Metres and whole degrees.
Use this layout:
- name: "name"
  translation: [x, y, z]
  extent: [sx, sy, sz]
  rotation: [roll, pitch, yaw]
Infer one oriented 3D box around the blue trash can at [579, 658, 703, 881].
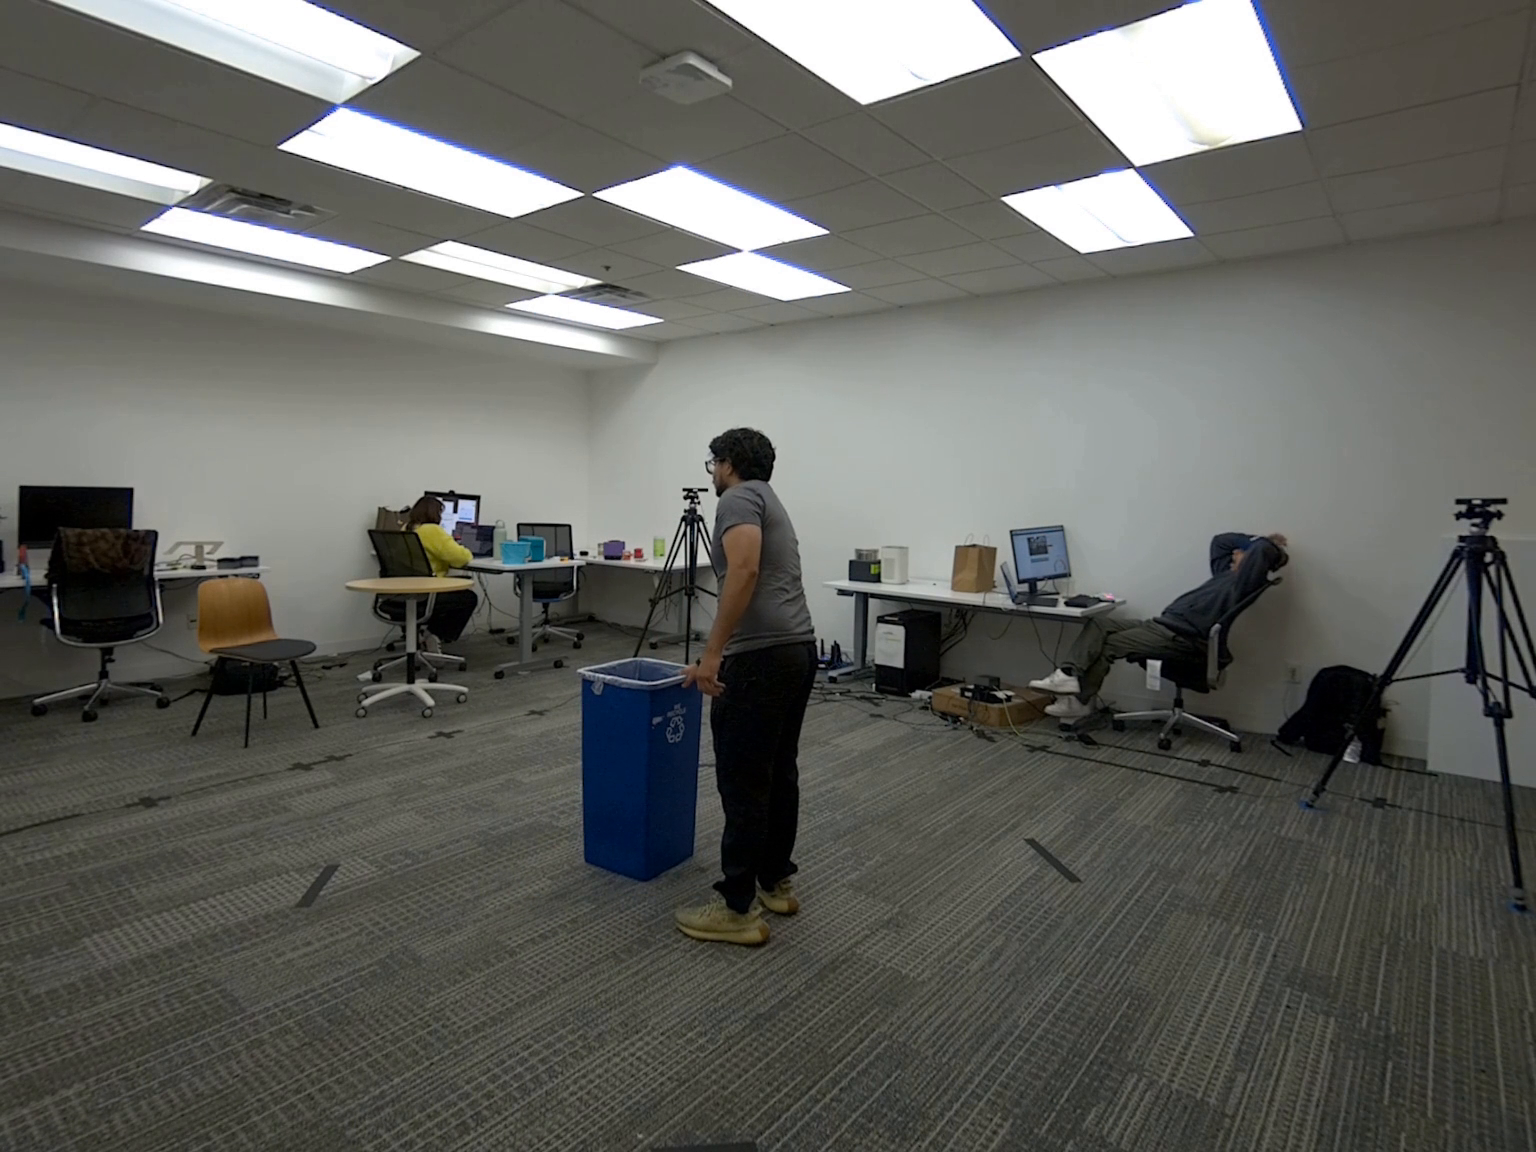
- name: "blue trash can"
  translation: [-0.484, 0.698, 3.192]
  extent: [0.390, 0.712, 0.364]
  rotation: [3, 4, 33]
